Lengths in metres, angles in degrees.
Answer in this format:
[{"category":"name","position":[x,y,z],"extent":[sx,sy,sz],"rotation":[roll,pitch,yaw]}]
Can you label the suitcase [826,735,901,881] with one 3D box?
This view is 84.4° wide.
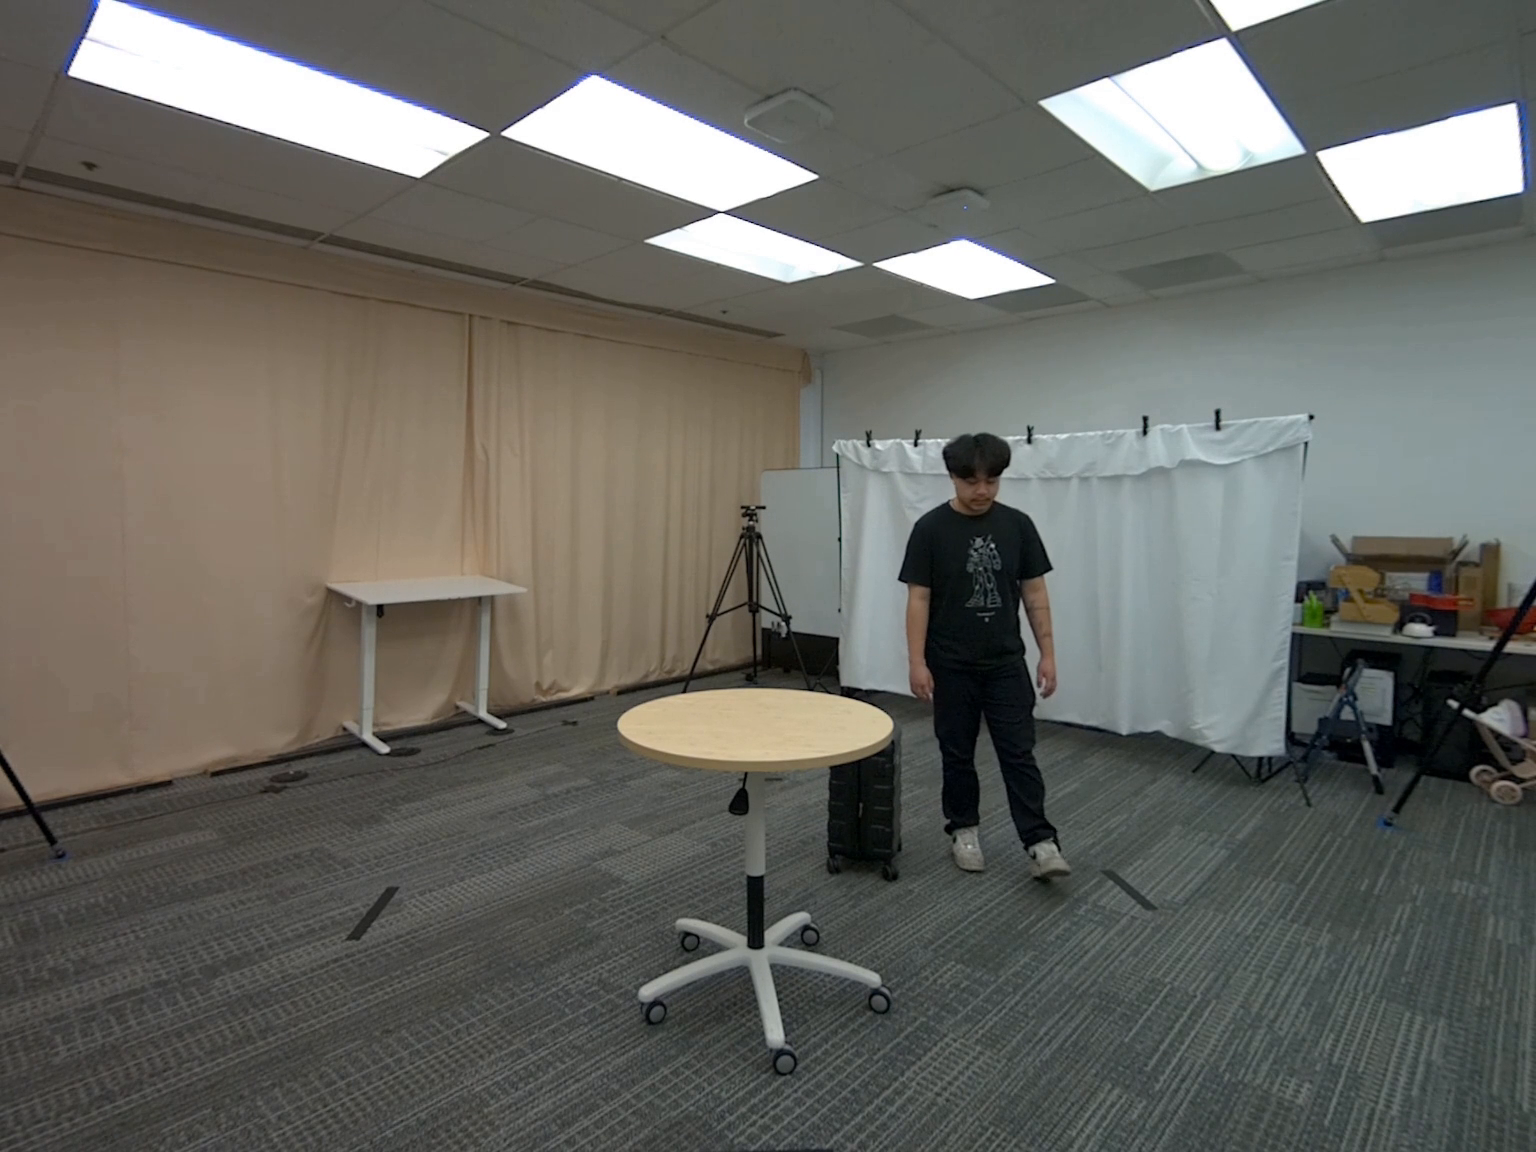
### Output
[{"category":"suitcase","position":[0.395,0.846,3.316],"extent":[0.252,0.549,0.369],"rotation":[1,2,15]}]
